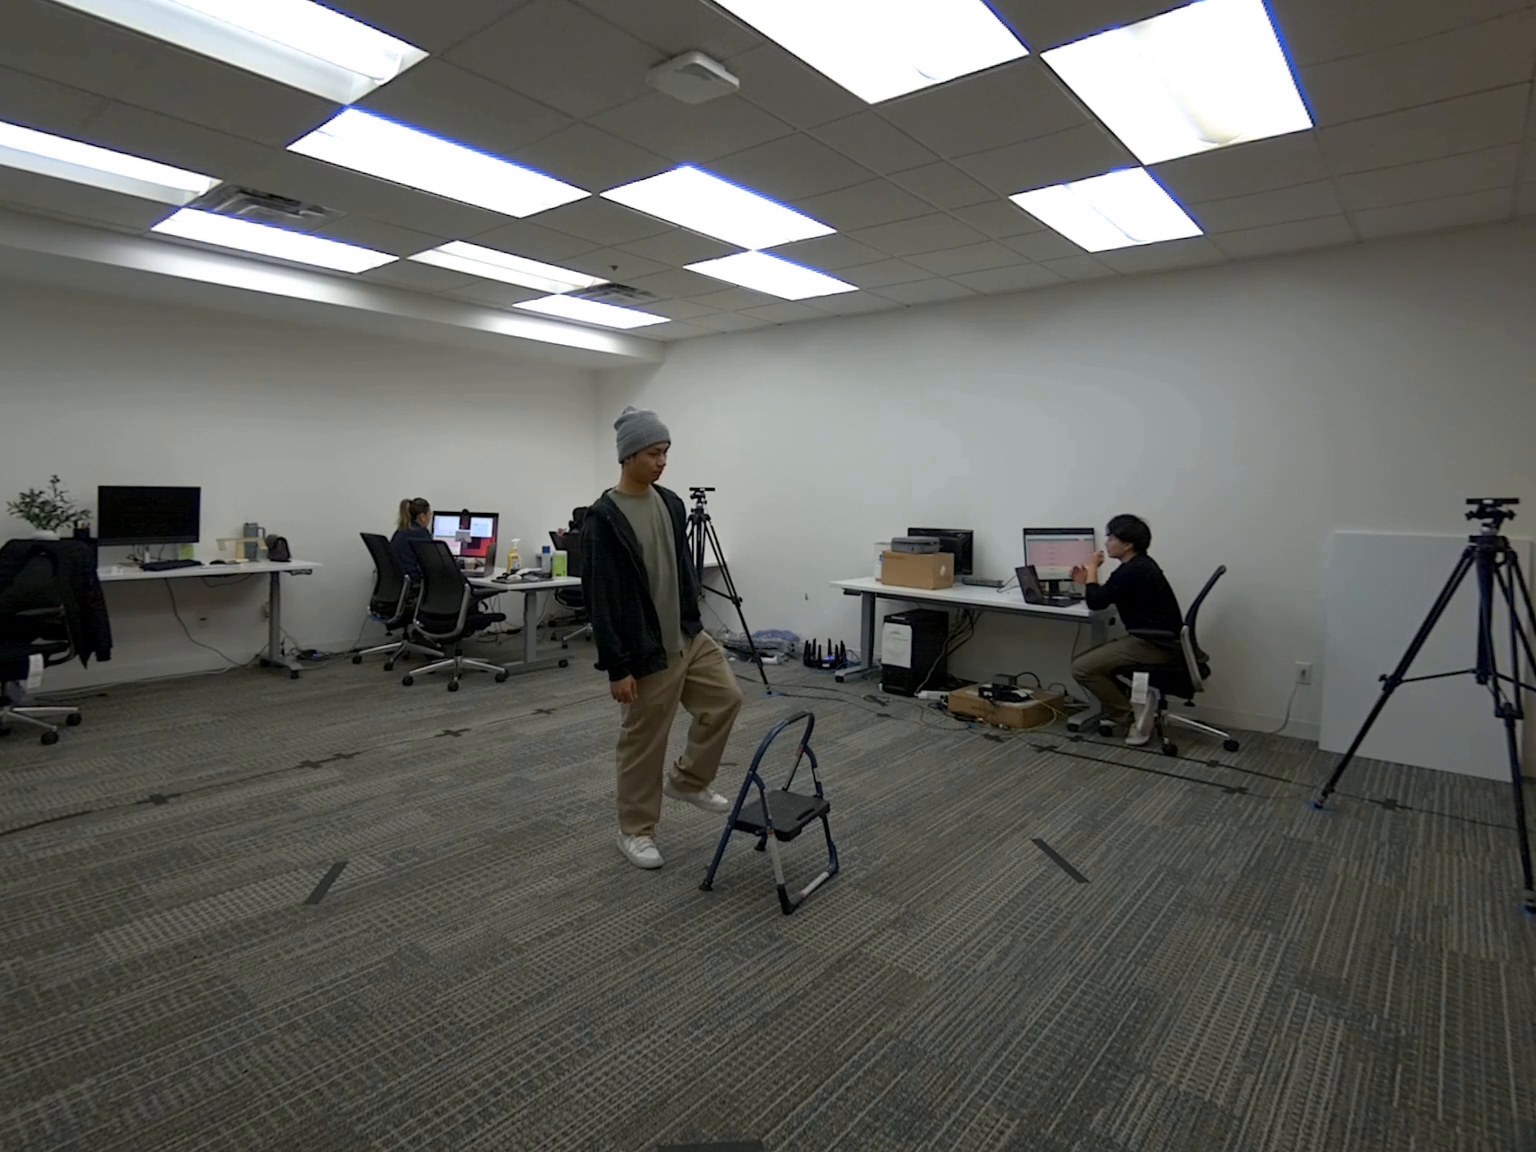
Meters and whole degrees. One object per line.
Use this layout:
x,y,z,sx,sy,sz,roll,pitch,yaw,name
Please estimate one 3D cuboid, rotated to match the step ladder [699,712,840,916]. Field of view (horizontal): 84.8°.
0.012,0.775,3.018,0.359,0.604,0.420,3,4,29,step ladder
